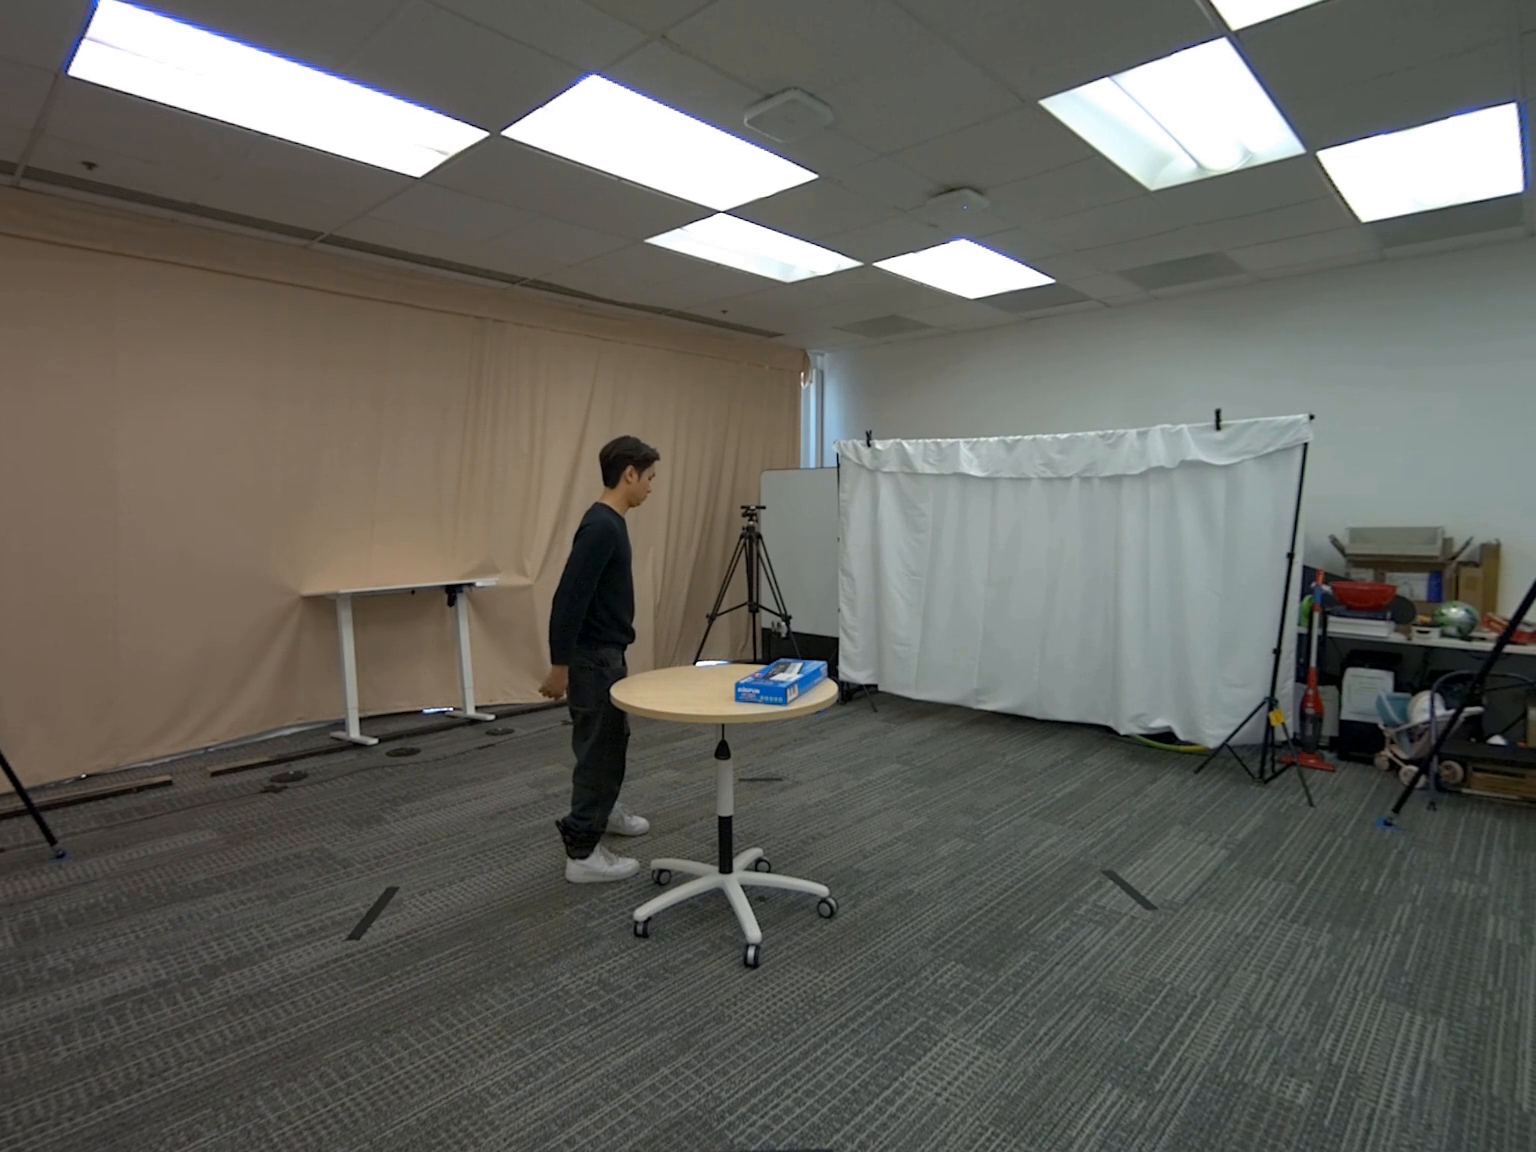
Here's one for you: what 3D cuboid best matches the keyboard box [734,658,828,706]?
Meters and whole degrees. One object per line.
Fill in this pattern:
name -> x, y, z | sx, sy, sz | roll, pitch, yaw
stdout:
keyboard box -> 0.051, 0.349, 2.789 | 0.180, 0.059, 0.428 | 1, 5, 21
